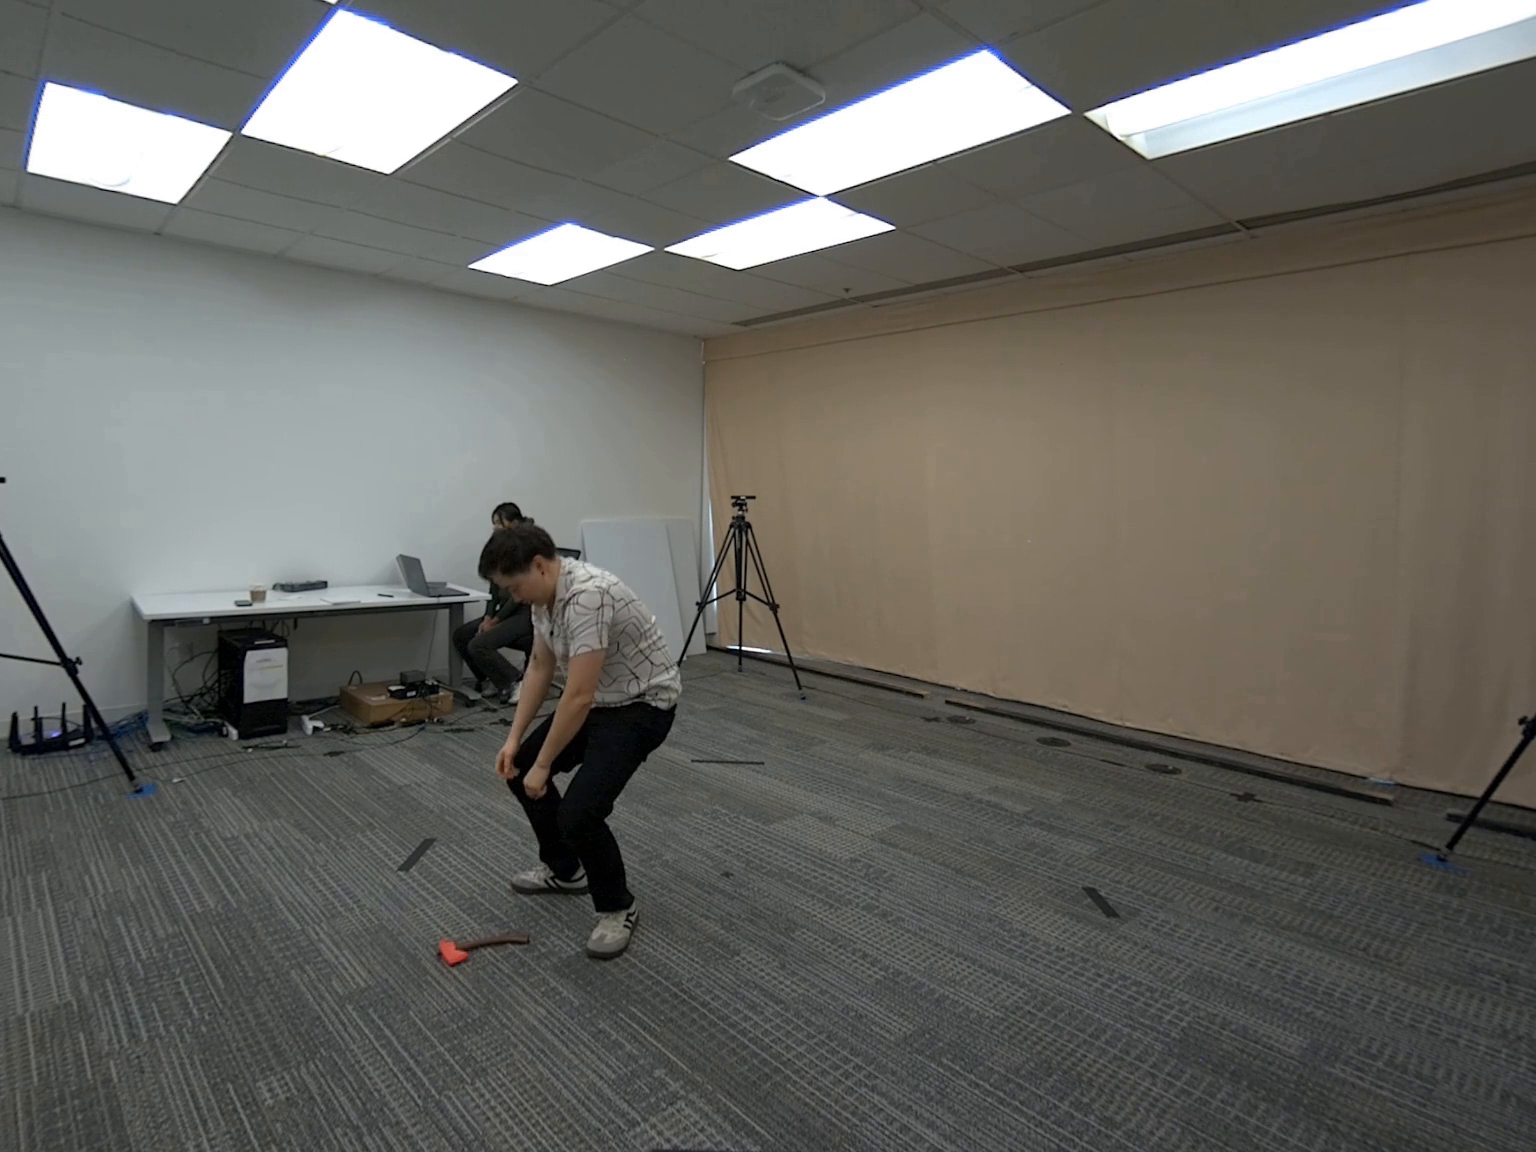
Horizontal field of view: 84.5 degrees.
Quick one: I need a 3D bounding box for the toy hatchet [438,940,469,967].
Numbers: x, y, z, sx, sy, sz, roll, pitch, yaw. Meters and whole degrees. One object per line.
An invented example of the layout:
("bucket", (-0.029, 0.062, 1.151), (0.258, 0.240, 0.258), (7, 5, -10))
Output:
("toy hatchet", (-0.868, 1.133, 2.531), (0.267, 0.029, 0.133), (2, 5, -14))
